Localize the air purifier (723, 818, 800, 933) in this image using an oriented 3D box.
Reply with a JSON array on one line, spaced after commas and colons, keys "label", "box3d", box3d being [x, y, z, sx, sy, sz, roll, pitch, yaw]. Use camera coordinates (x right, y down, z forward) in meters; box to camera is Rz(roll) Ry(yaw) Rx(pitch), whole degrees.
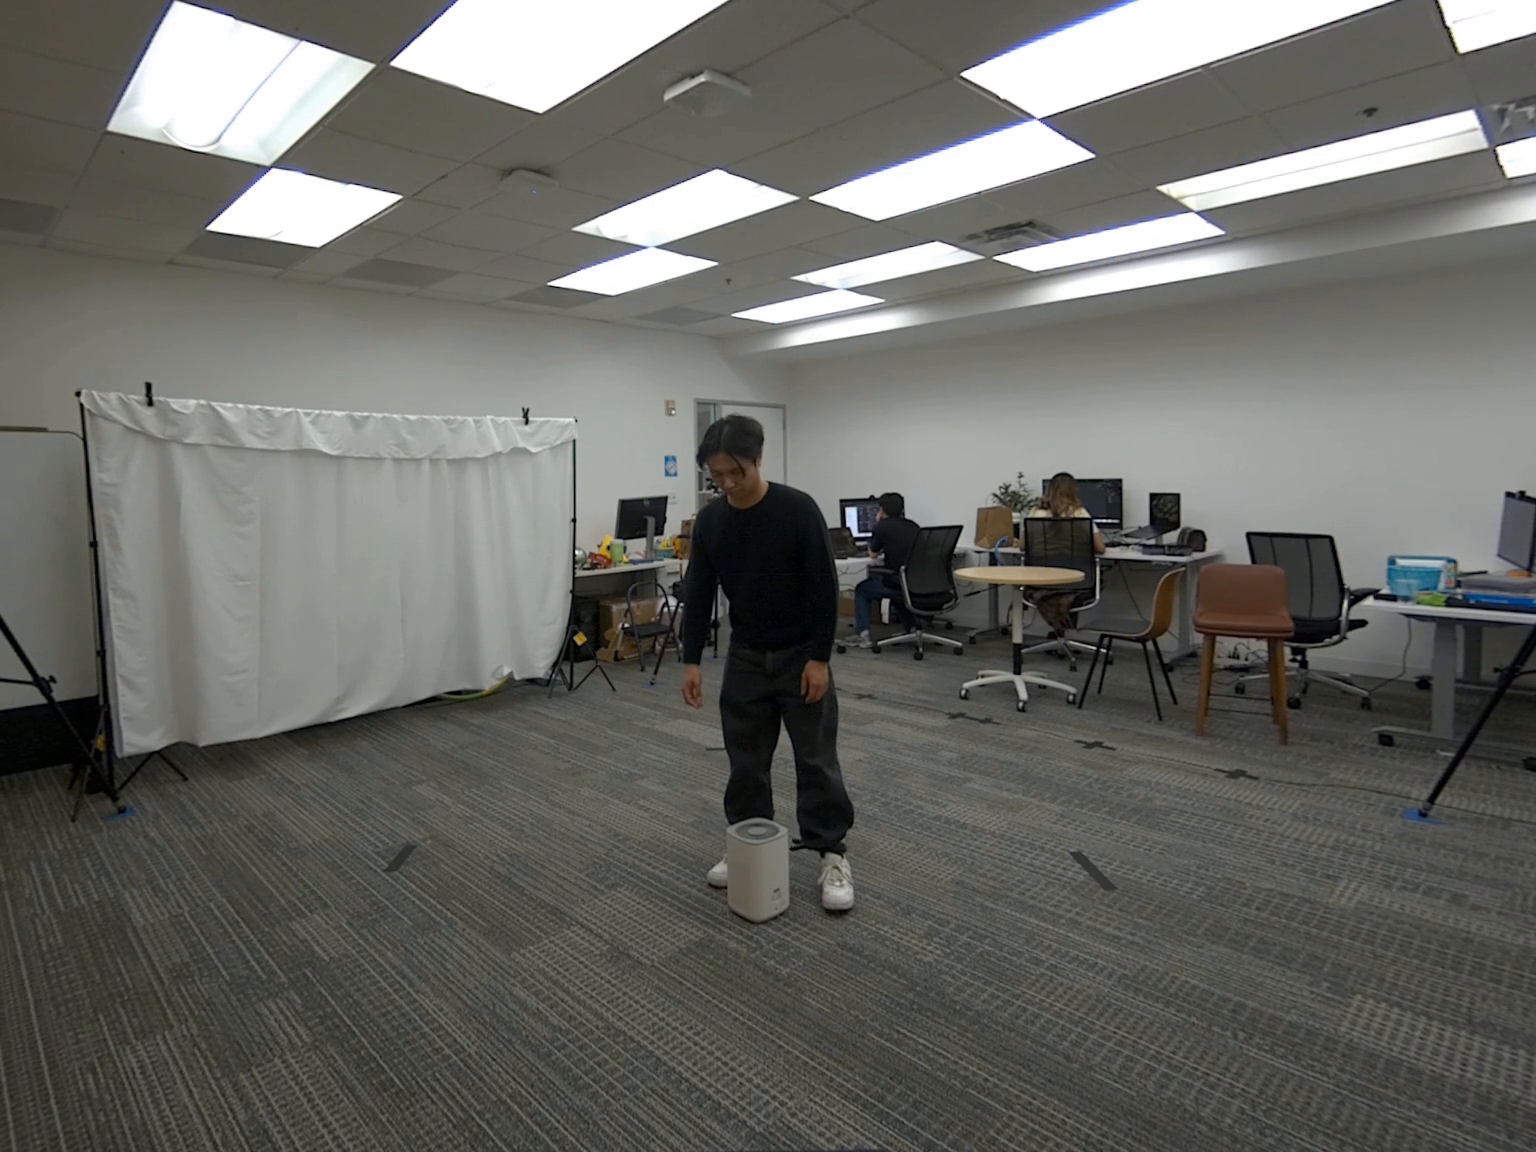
[{"label": "air purifier", "box3d": [-0.024, 0.955, 2.759, 0.166, 0.264, 0.177, -5, 7, -43]}]
